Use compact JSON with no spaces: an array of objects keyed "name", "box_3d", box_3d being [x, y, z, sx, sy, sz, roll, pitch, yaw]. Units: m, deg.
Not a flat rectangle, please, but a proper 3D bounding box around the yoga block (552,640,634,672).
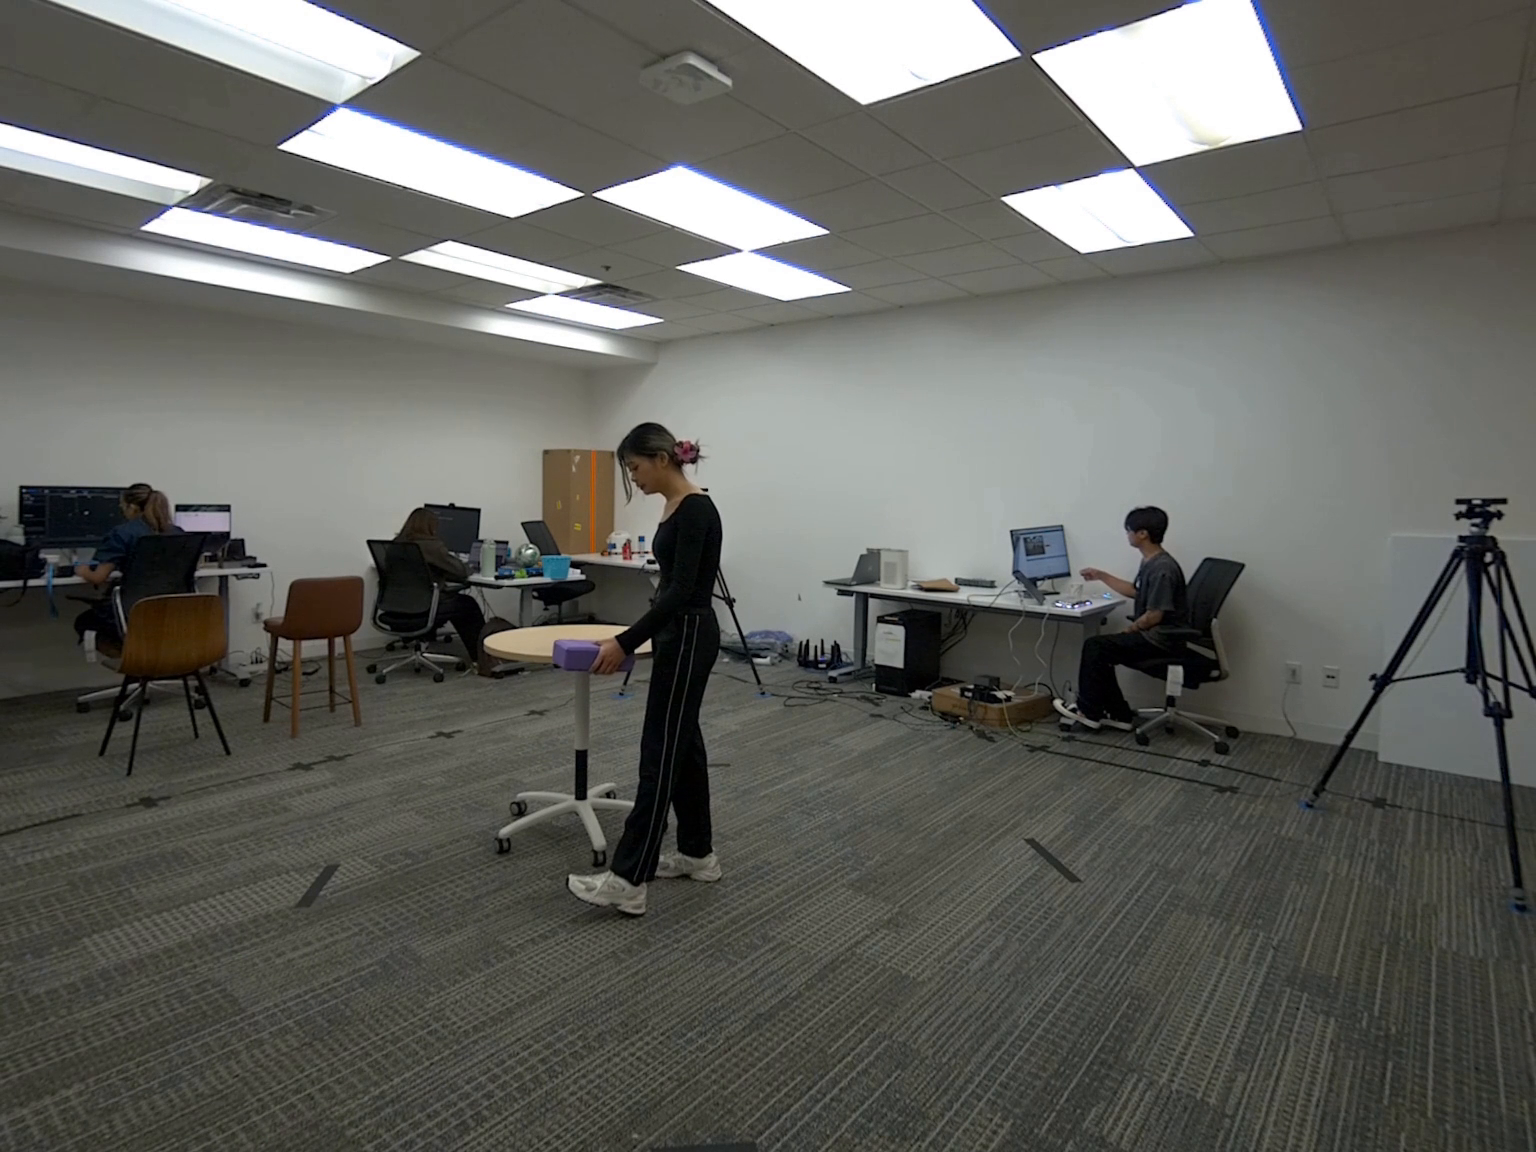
[{"name":"yoga block","box_3d":[-0.576,0.255,2.724,0.223,0.076,0.153,4,3,-28]}]
